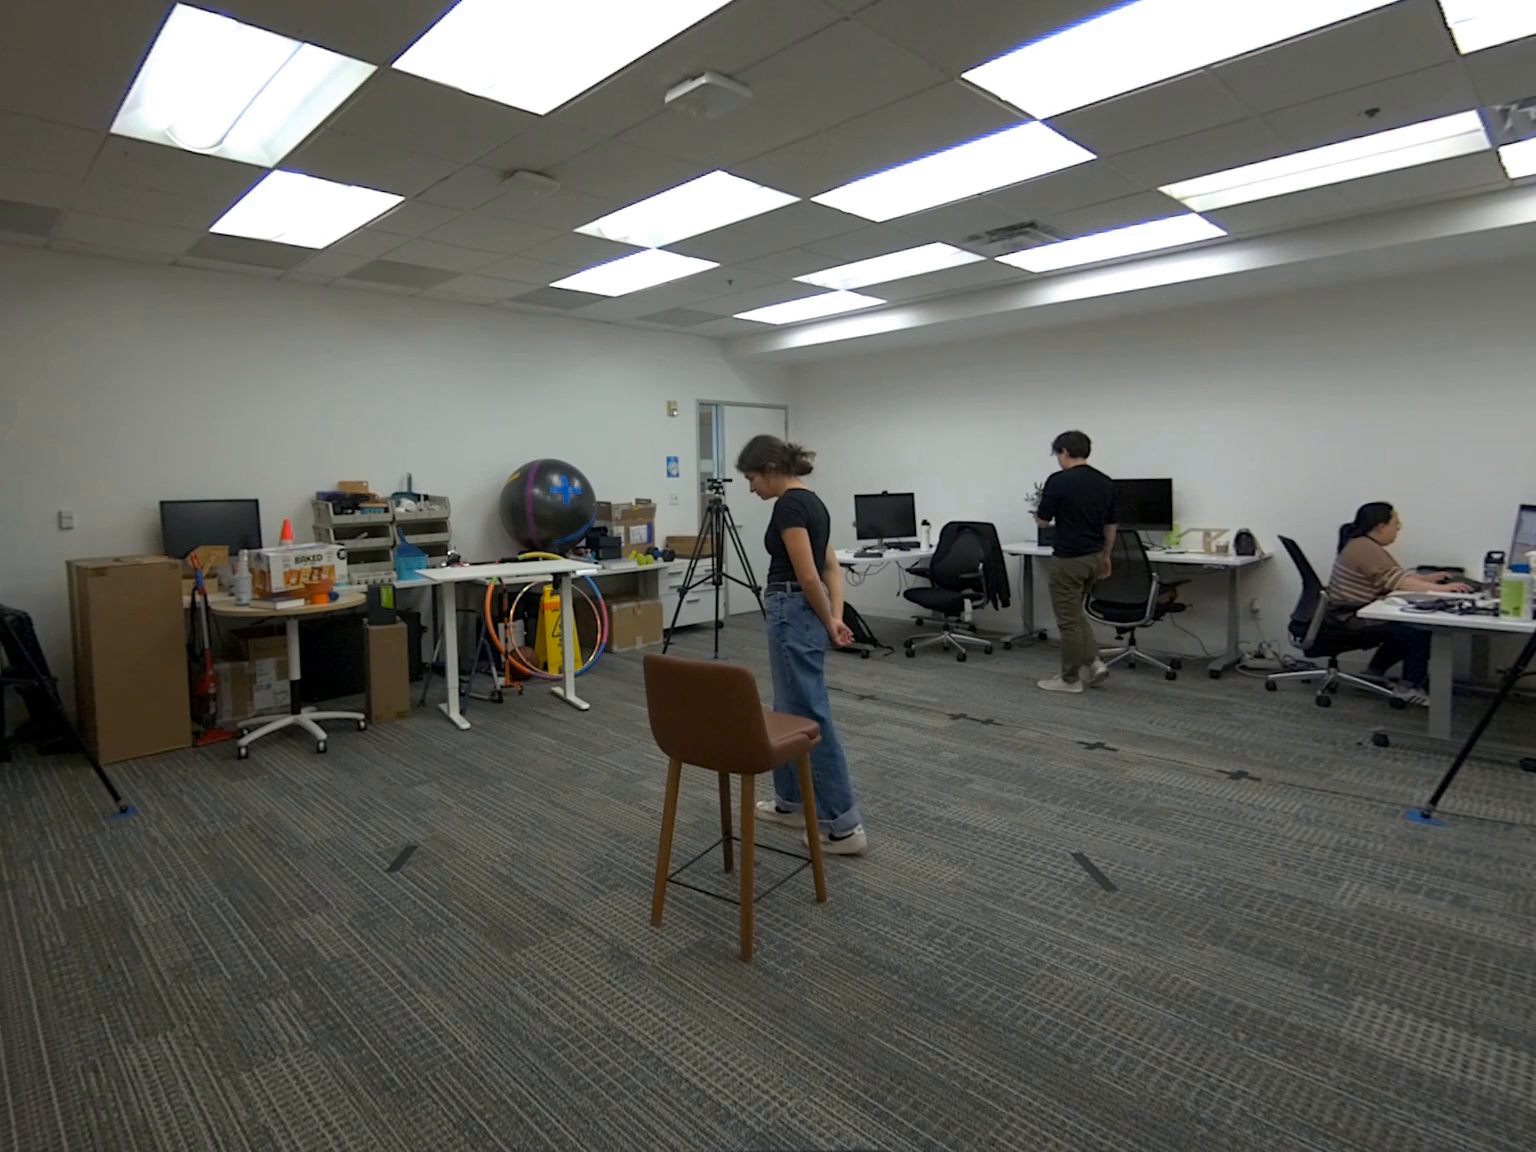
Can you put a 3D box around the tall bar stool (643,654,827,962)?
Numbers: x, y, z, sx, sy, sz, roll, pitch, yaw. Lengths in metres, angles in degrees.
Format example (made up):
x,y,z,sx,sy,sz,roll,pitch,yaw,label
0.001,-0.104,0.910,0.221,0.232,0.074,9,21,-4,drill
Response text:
x,y,z,sx,sy,sz,roll,pitch,yaw,label
-0.105,0.654,2.733,0.469,0.885,0.457,2,7,35,tall bar stool
